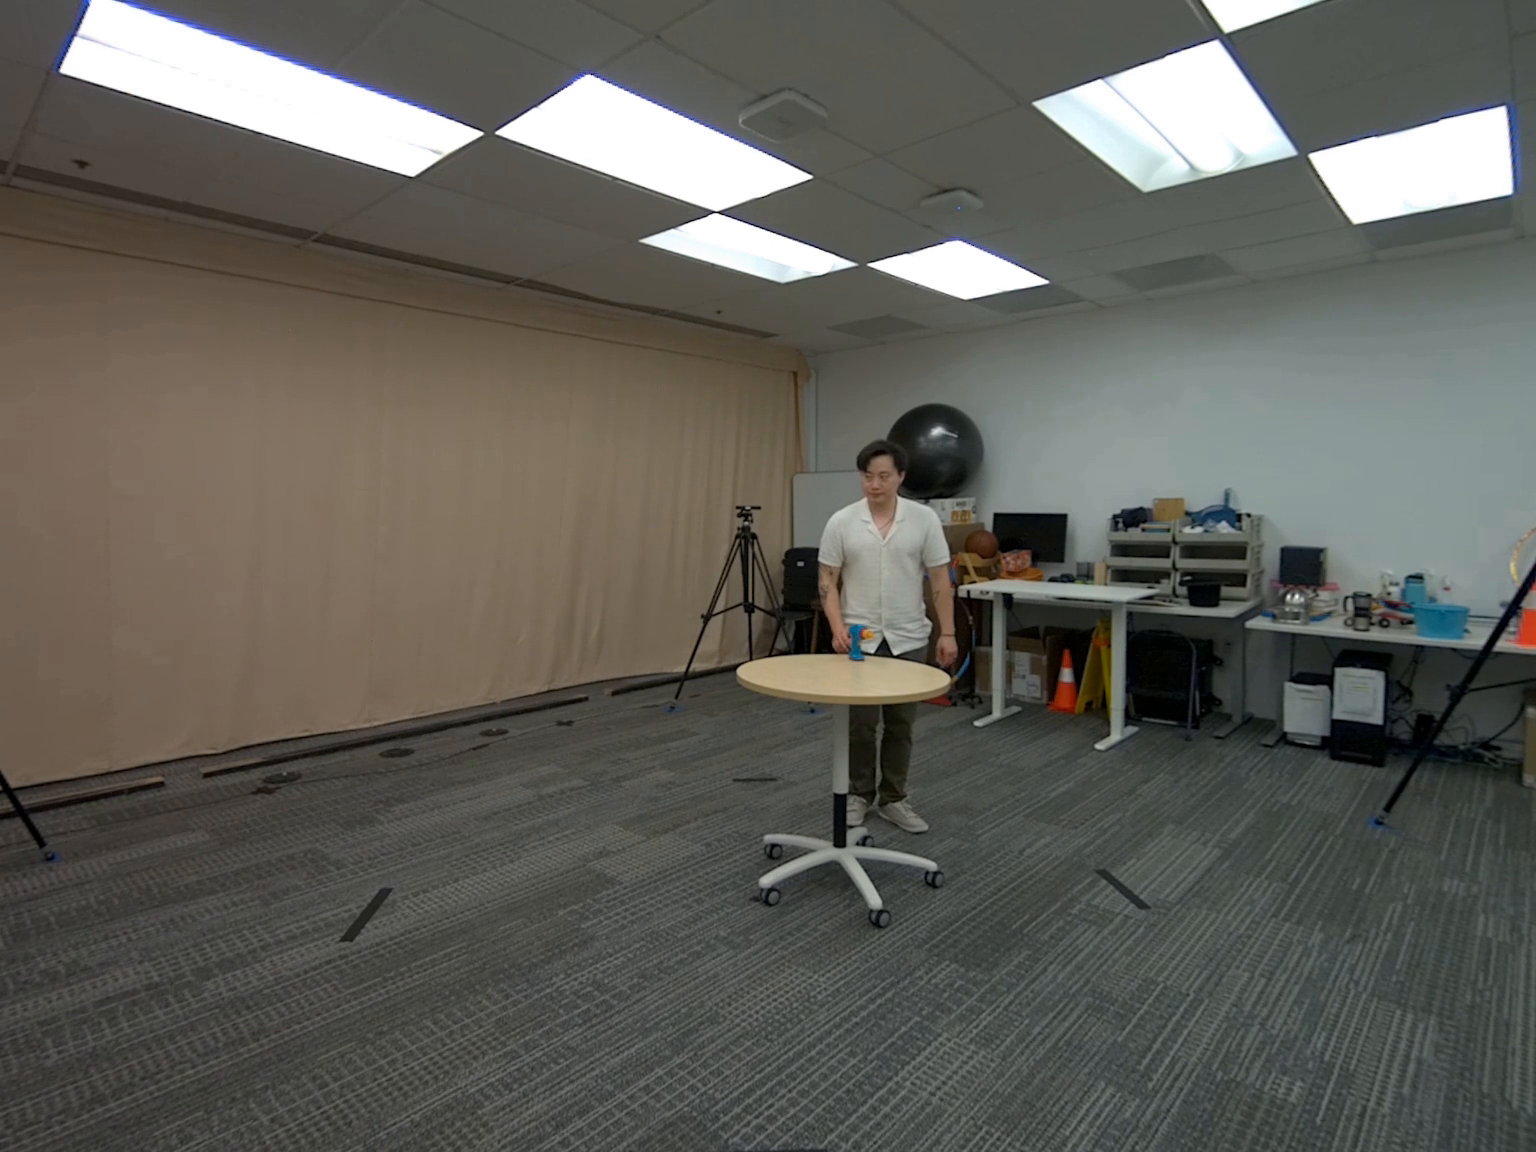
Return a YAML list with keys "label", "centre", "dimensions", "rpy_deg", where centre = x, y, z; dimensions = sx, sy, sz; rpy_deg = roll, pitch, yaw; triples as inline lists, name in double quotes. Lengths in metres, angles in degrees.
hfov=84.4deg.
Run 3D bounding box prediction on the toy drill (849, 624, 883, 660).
- label: "toy drill"
  centre: [0.362, 0.261, 3.288]
  dimensions: [0.060, 0.146, 0.174]
  rpy_deg: [0, 4, -26]
